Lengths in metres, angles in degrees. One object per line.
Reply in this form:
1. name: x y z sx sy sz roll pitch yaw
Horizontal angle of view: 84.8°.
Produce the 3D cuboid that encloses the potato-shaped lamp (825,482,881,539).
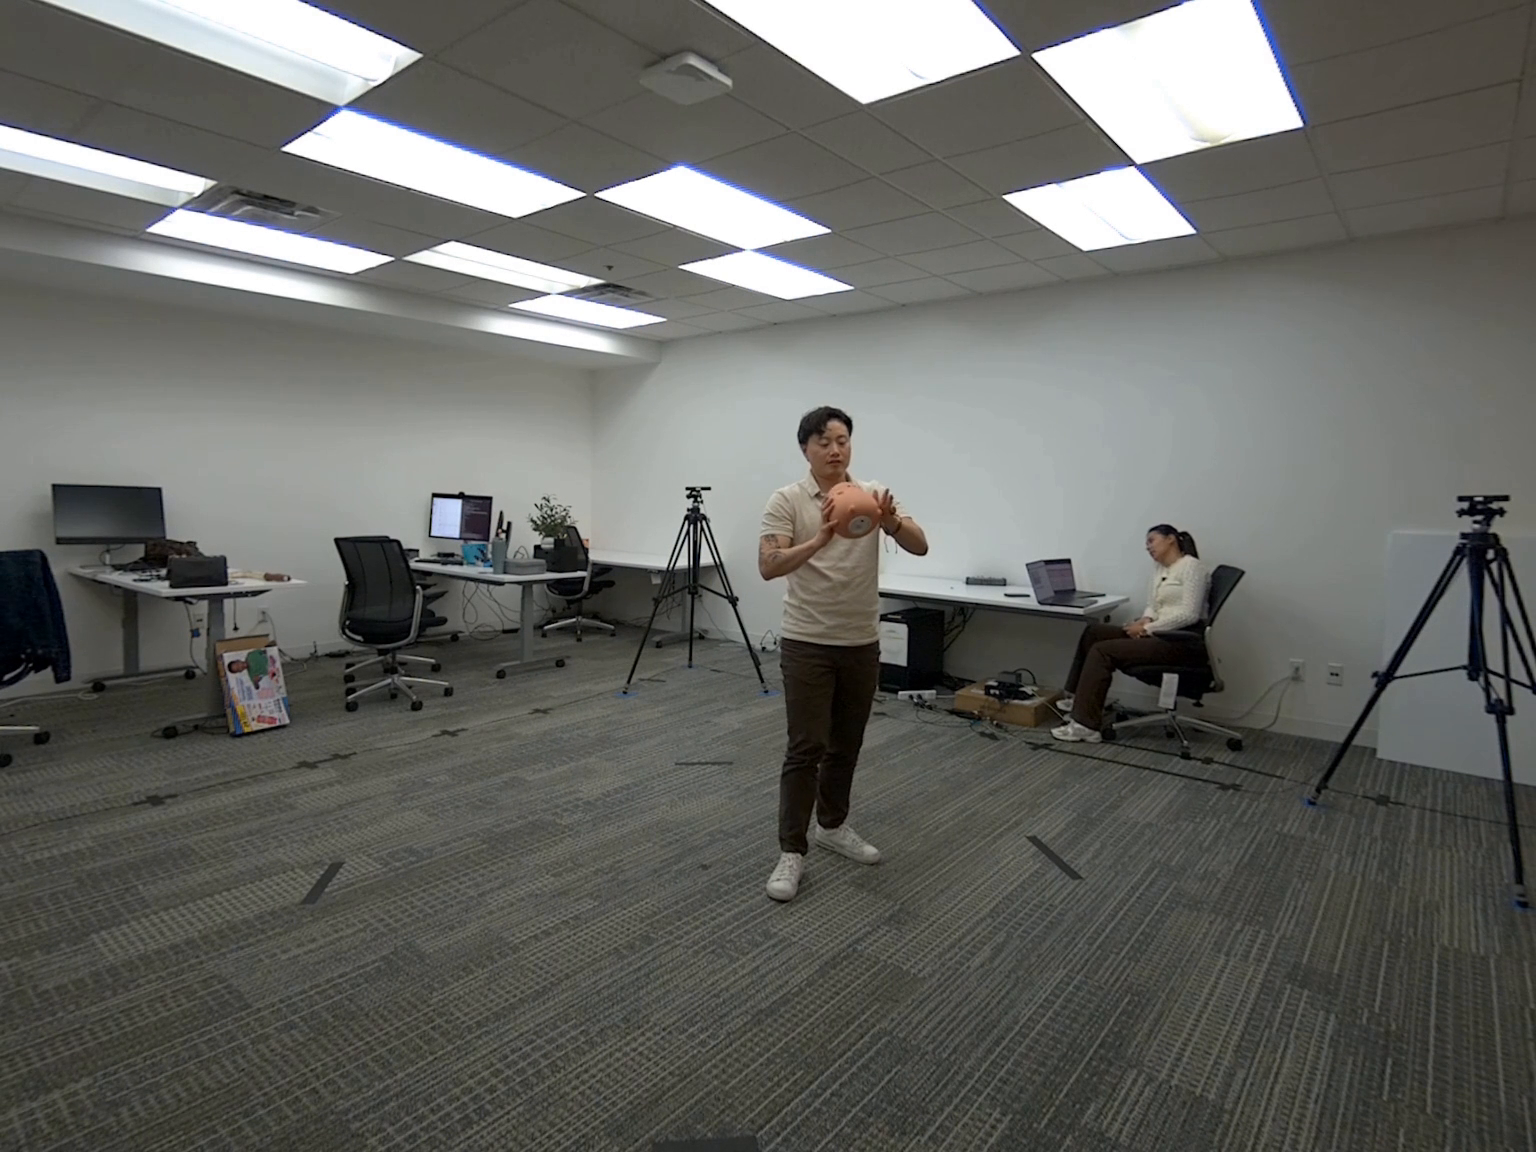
1. potato-shaped lamp: 0.266 -0.229 2.827 0.161 0.169 0.205 4 45 -19
